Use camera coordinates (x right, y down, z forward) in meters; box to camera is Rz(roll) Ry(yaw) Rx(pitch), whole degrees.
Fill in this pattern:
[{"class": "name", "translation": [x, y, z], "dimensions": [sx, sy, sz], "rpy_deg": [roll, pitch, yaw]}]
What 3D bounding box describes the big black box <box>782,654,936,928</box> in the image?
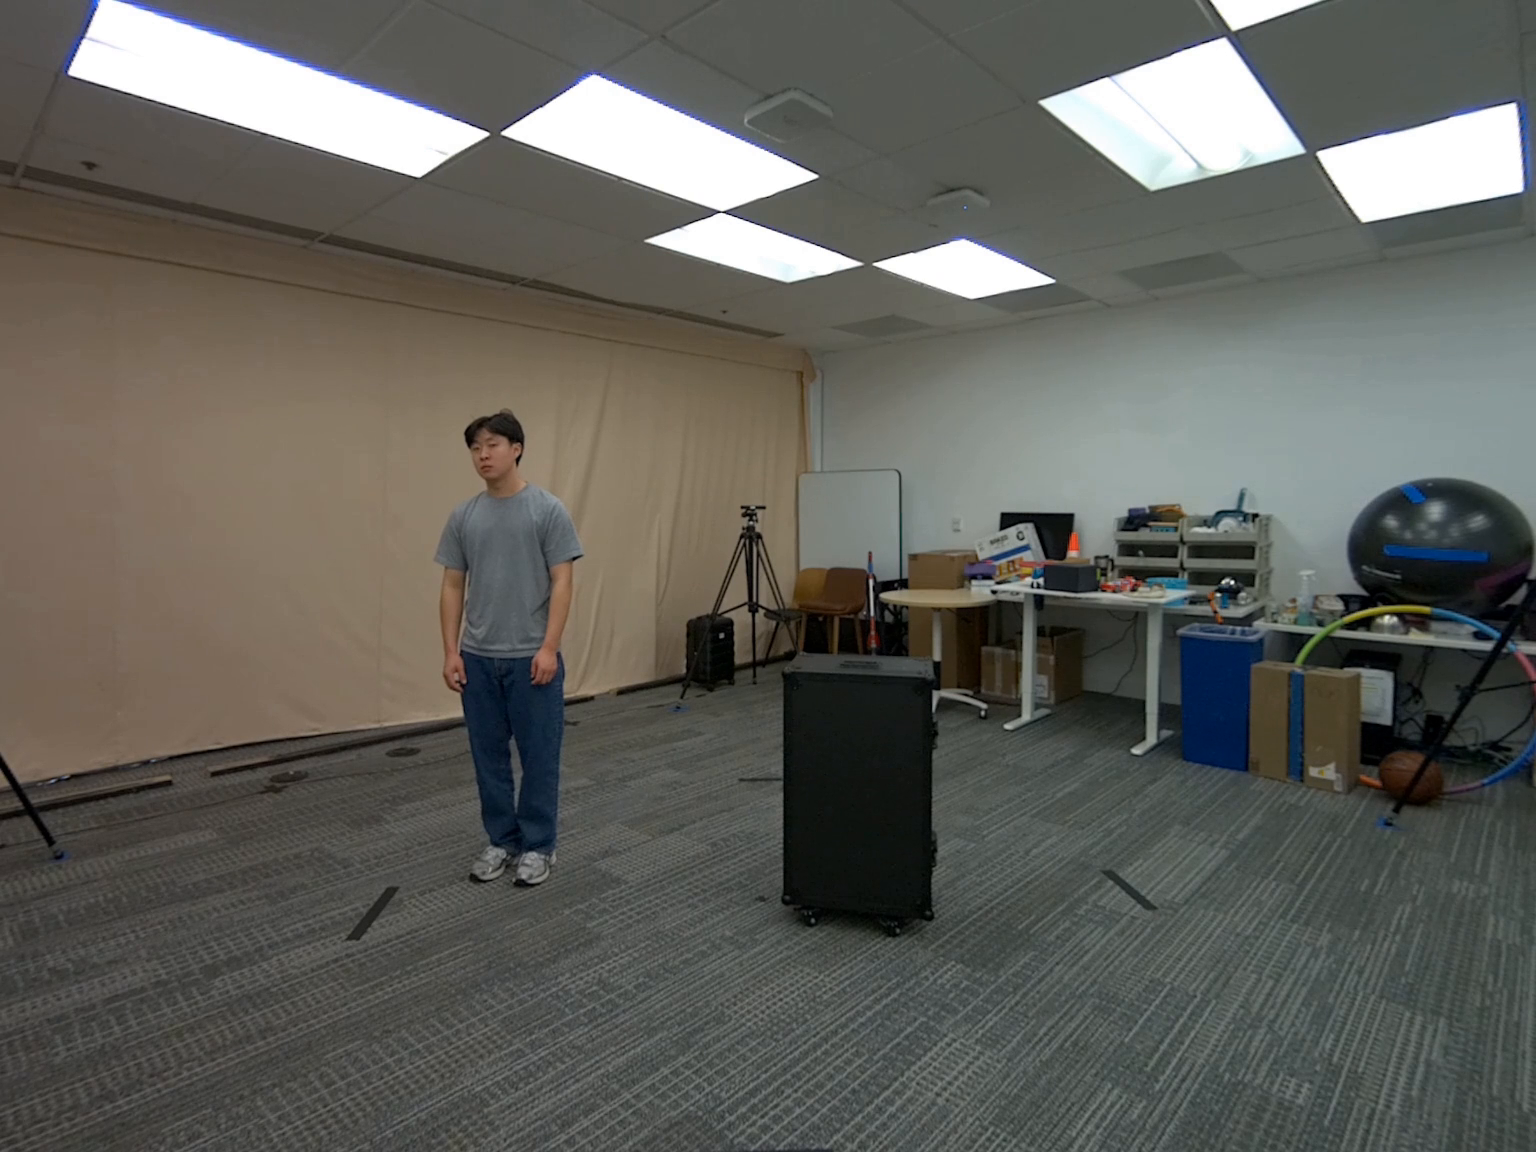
[{"class": "big black box", "translation": [0.318, 0.723, 2.896], "dimensions": [0.529, 0.860, 0.391], "rpy_deg": [0, 2, 14]}]
